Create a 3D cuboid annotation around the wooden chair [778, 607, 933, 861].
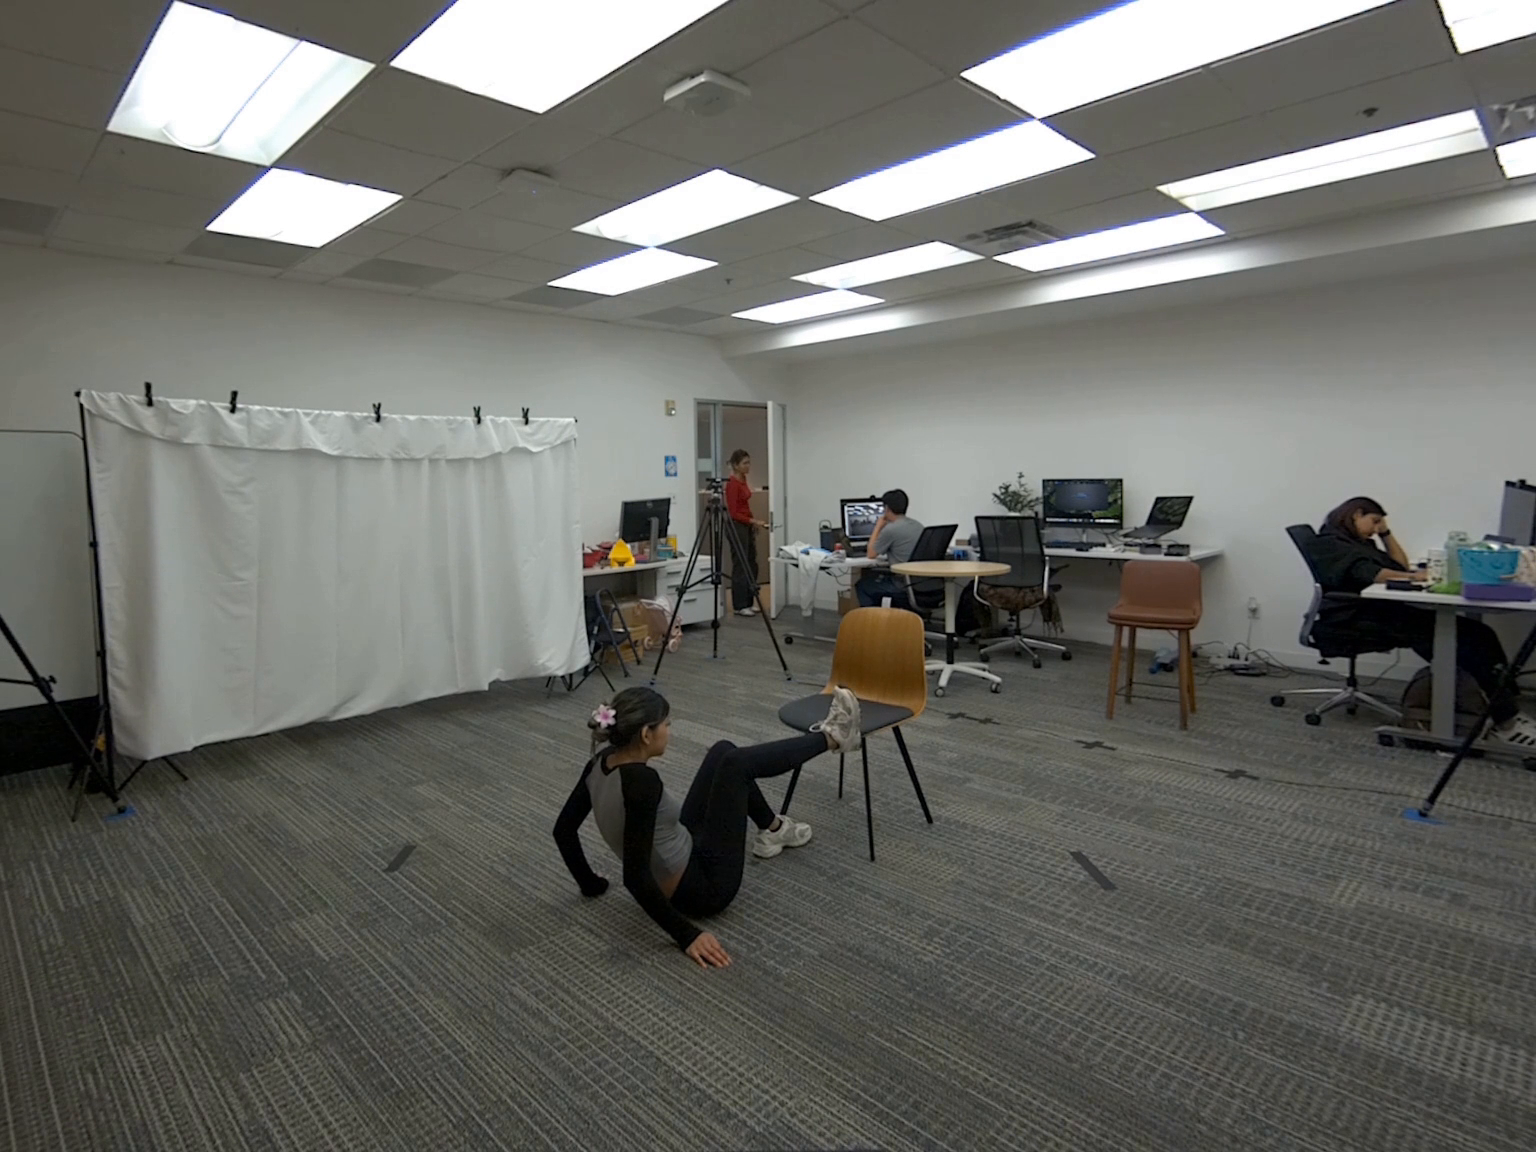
[{"bbox_3d":[0.338,0.576,3.375,0.492,0.877,0.508,3,1,40],"label":"wooden chair"}]
